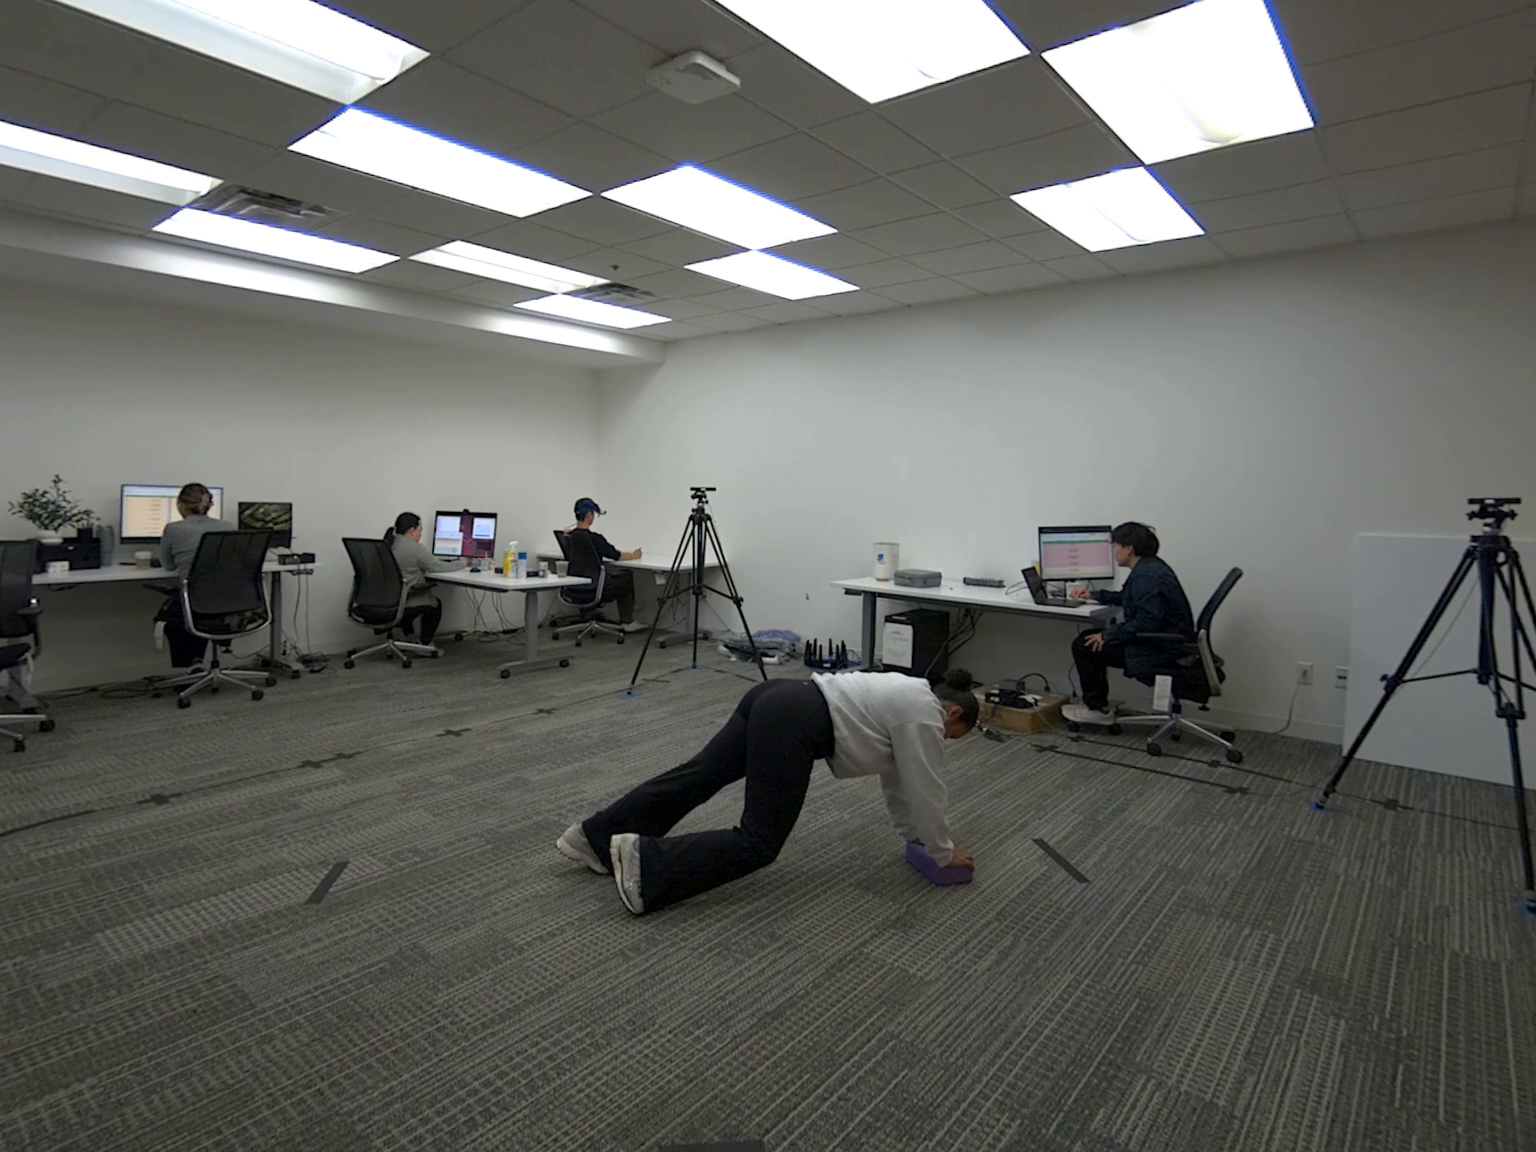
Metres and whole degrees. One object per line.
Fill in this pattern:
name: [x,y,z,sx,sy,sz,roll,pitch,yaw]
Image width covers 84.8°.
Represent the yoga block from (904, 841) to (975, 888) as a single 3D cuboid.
yoga block: [0.625,1.054,3.138,0.146,0.076,0.234,1,4,-20]
